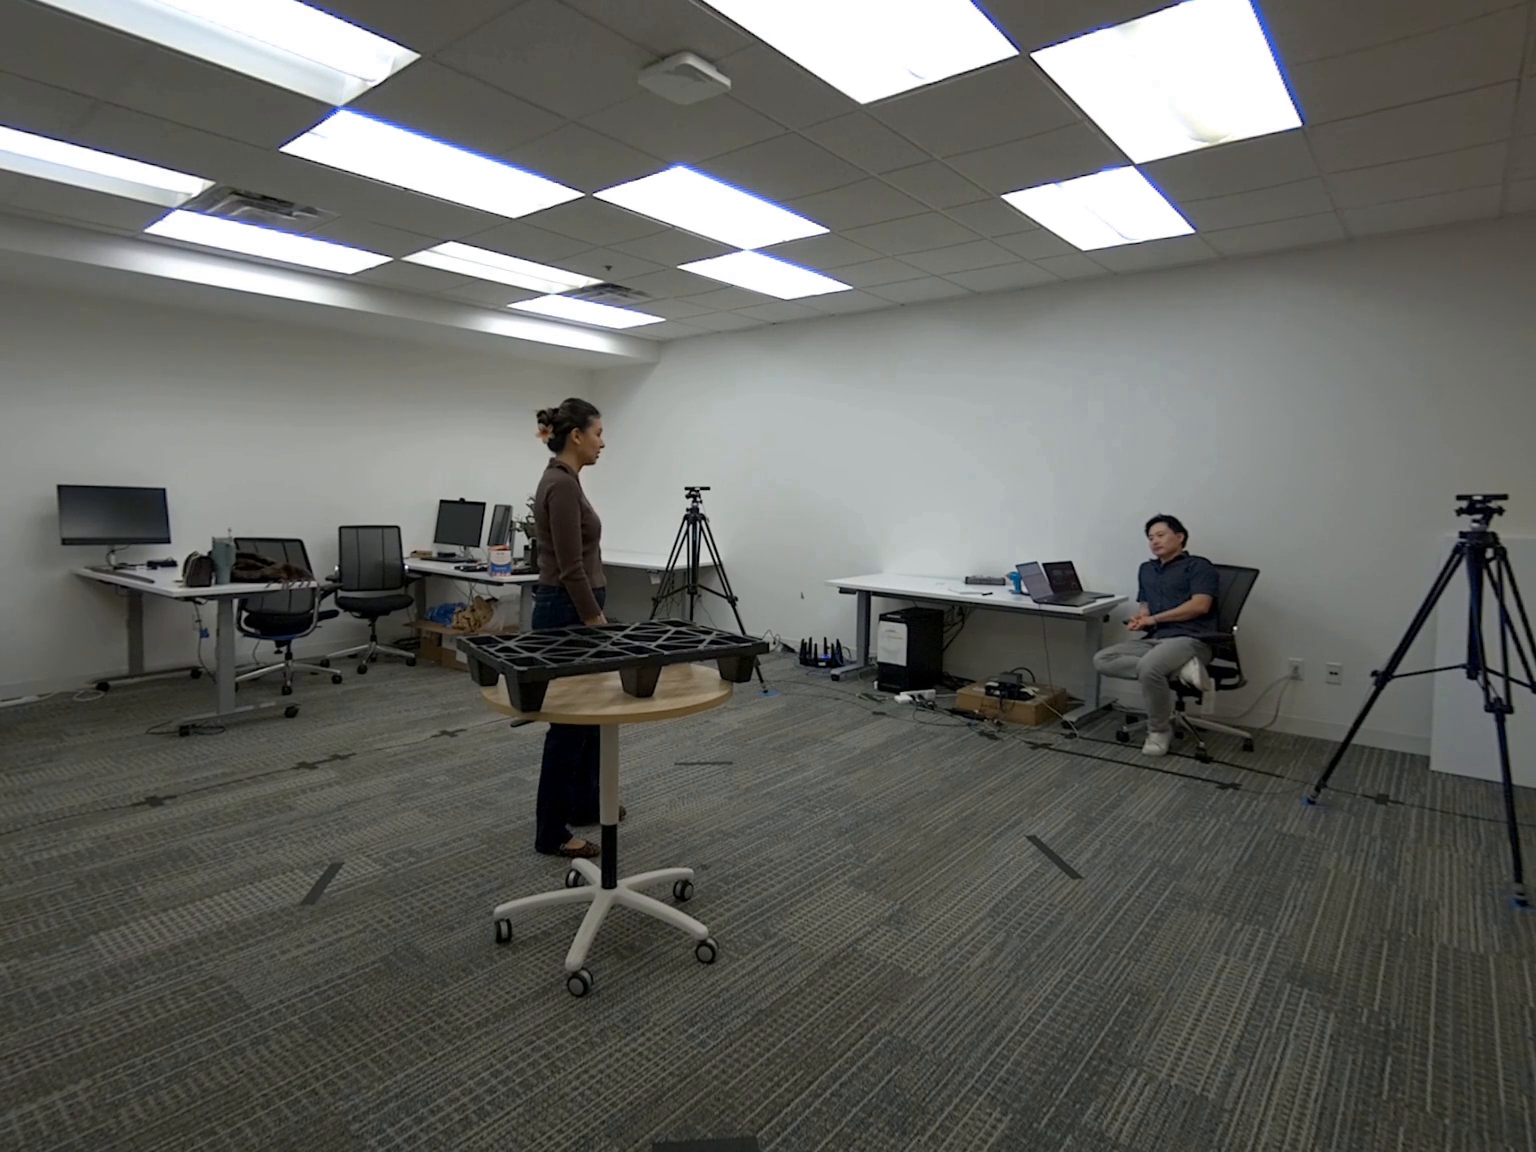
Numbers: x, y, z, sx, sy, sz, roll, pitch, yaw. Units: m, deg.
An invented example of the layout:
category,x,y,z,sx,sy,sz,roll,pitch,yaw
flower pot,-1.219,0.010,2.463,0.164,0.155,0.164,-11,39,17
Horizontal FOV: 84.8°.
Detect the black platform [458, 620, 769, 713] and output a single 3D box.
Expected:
category,x,y,z,sx,sy,sz,roll,pitch,yaw
black platform,-0.495,0.264,2.626,0.783,0.143,0.624,-4,6,-34
